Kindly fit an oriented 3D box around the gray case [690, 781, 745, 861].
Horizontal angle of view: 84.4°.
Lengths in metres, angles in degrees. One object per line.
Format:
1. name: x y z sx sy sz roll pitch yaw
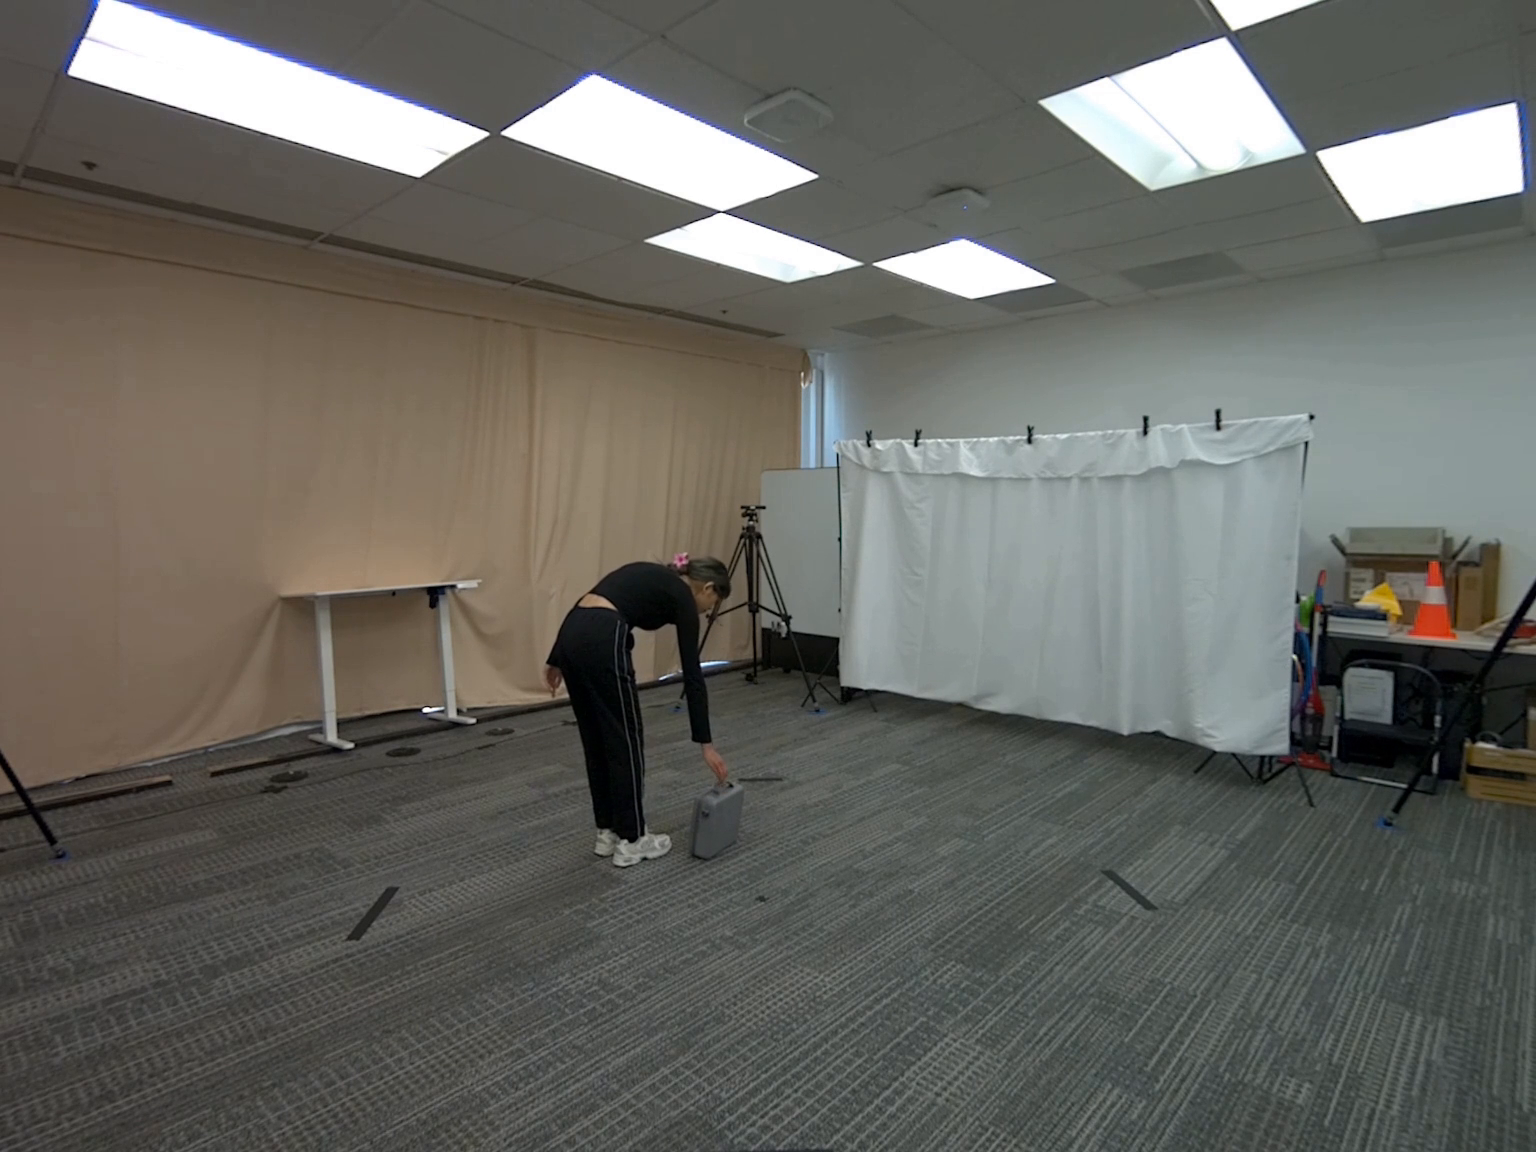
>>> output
1. gray case: -0.204 0.978 3.400 0.107 0.259 0.250 13 10 28
